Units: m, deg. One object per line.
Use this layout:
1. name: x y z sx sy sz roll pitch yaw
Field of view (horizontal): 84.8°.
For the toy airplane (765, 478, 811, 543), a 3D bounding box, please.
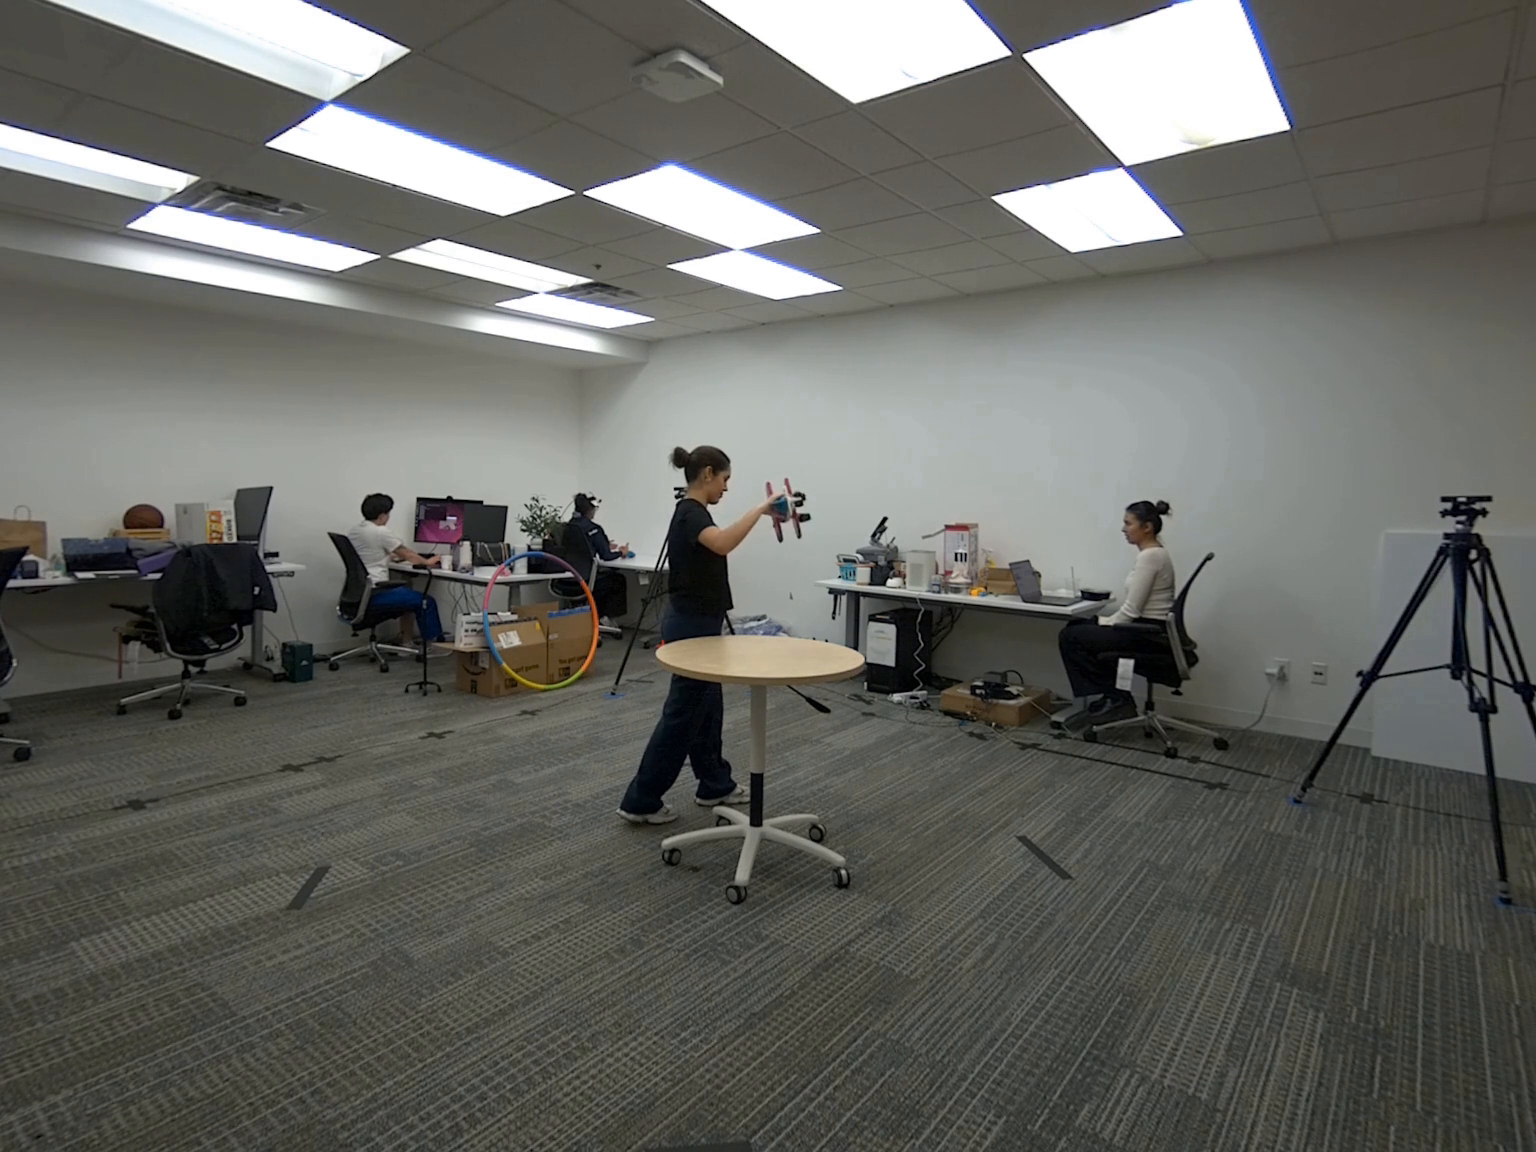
1. toy airplane: 0.087 -0.294 3.445 0.158 0.259 0.249 -13 -39 9
